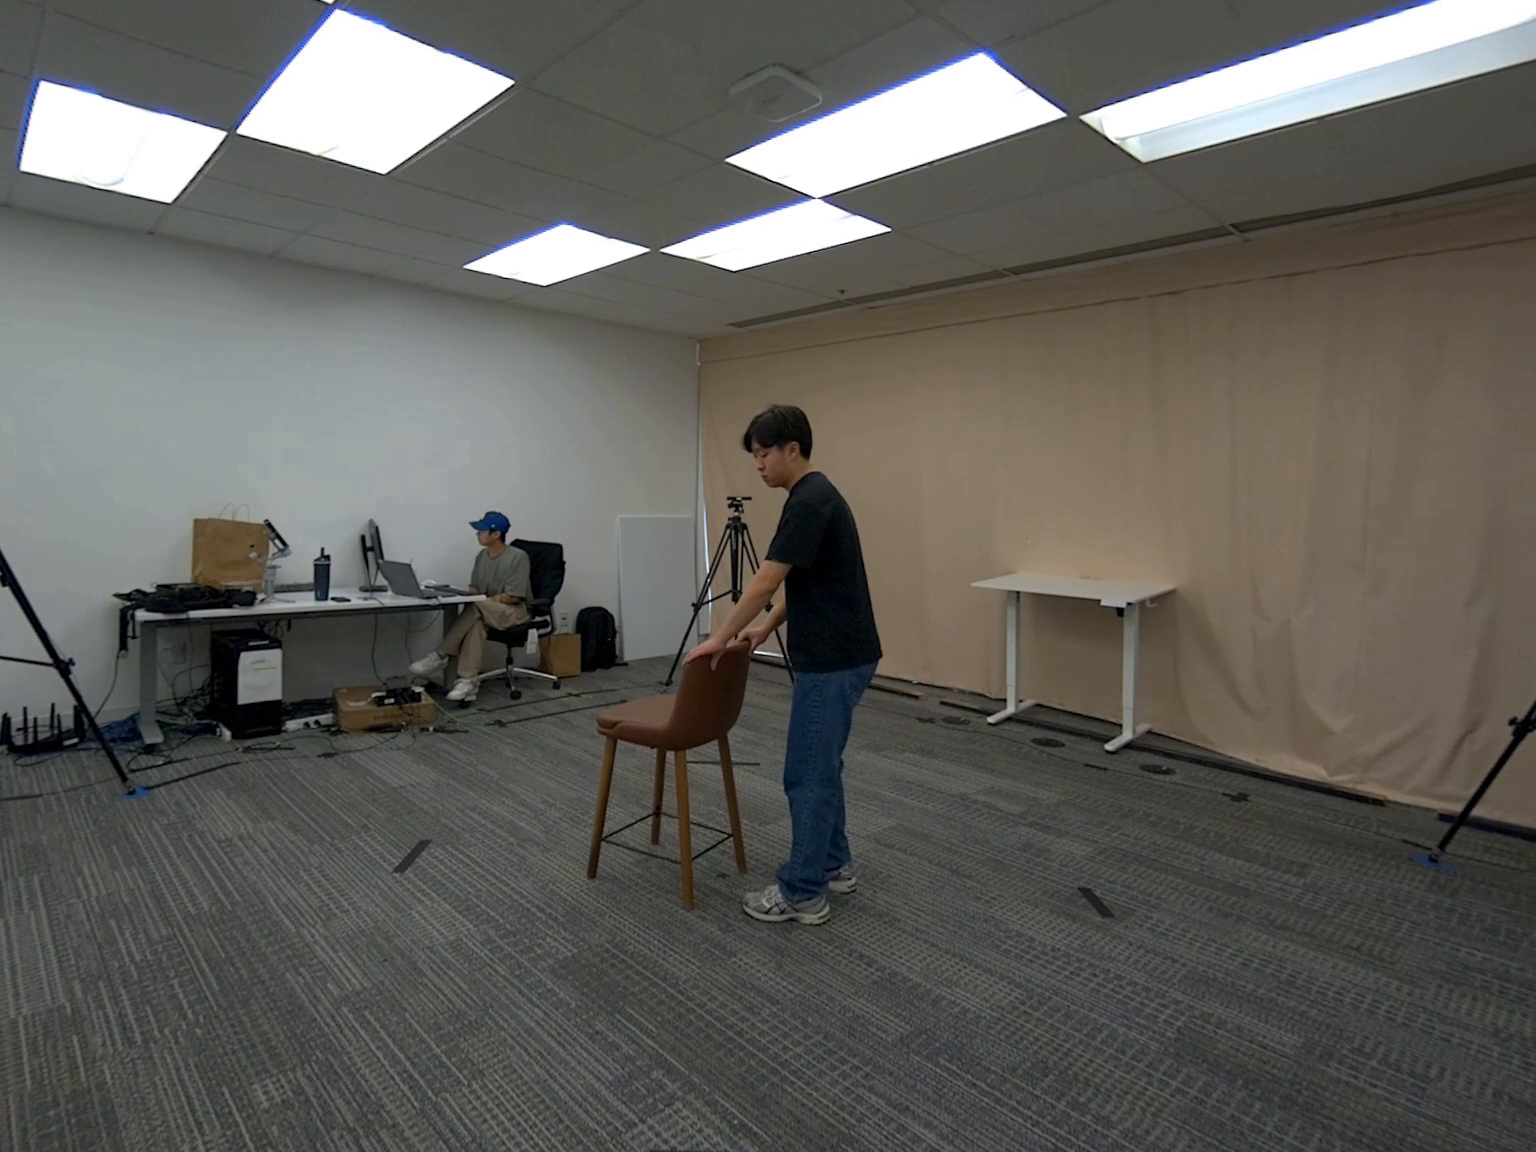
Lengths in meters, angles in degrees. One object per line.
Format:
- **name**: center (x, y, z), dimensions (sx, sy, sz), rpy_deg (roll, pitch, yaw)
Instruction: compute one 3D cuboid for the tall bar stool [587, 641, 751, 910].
- **tall bar stool**: center (-0.346, 0.663, 3.076), dimensions (0.479, 0.887, 0.447), rpy_deg (6, 6, 32)
